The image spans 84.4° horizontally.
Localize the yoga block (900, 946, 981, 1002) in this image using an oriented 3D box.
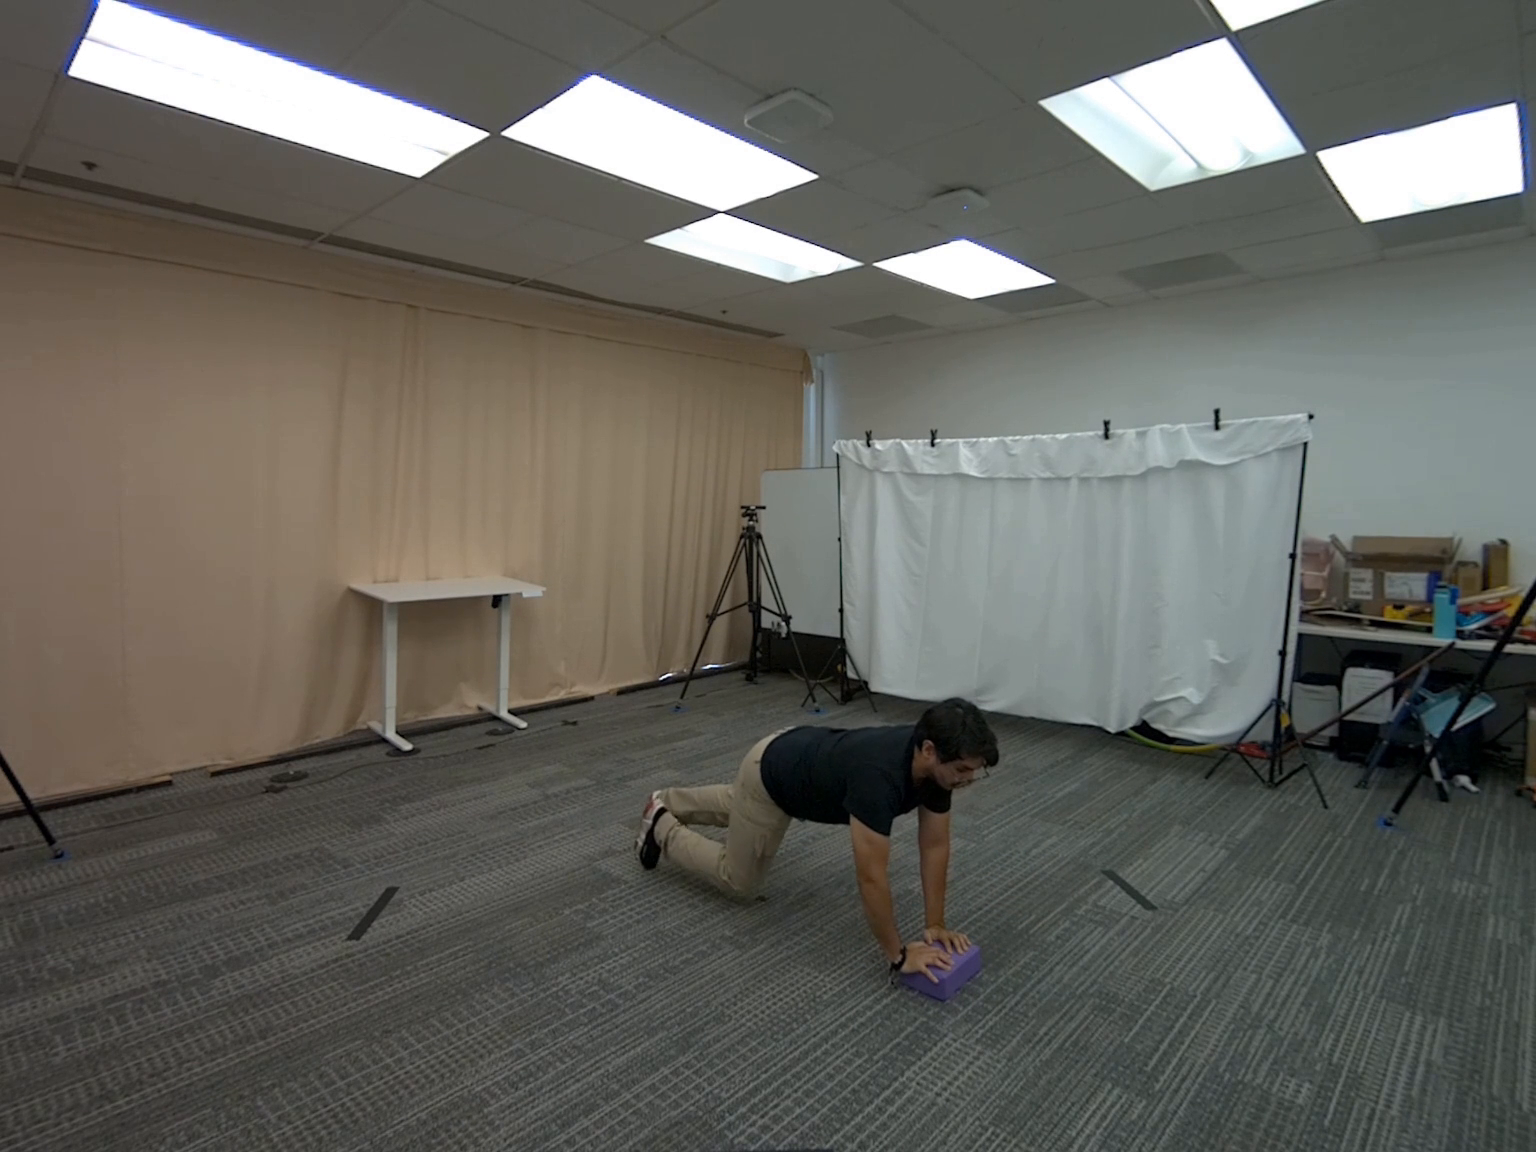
[{"bbox_3d":[0.515,1.150,2.479,0.154,0.076,0.222,5,7,41],"label":"yoga block"}]
